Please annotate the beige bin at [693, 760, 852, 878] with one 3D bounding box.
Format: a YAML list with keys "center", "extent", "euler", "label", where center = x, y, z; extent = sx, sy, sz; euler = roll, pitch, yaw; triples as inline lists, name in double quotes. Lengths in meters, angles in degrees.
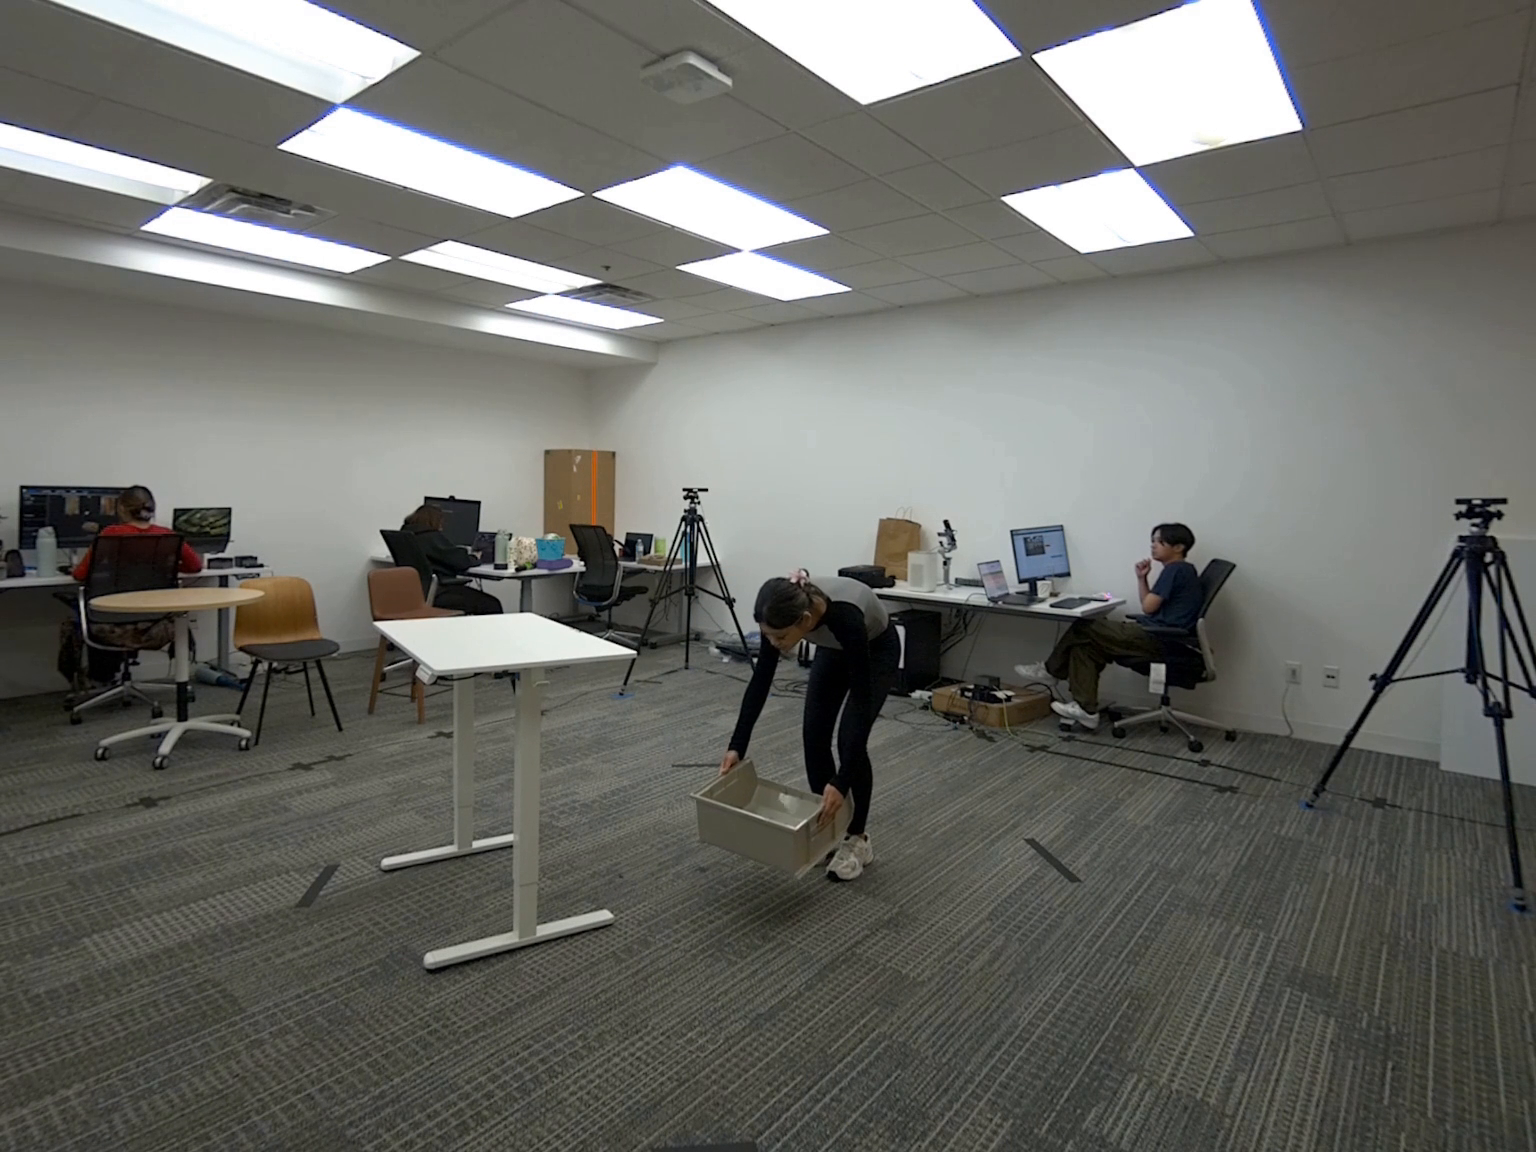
- center: [0.012, 0.802, 2.893]
  extent: [0.436, 0.186, 0.370]
  euler: [7, 18, 35]
  label: "beige bin"
